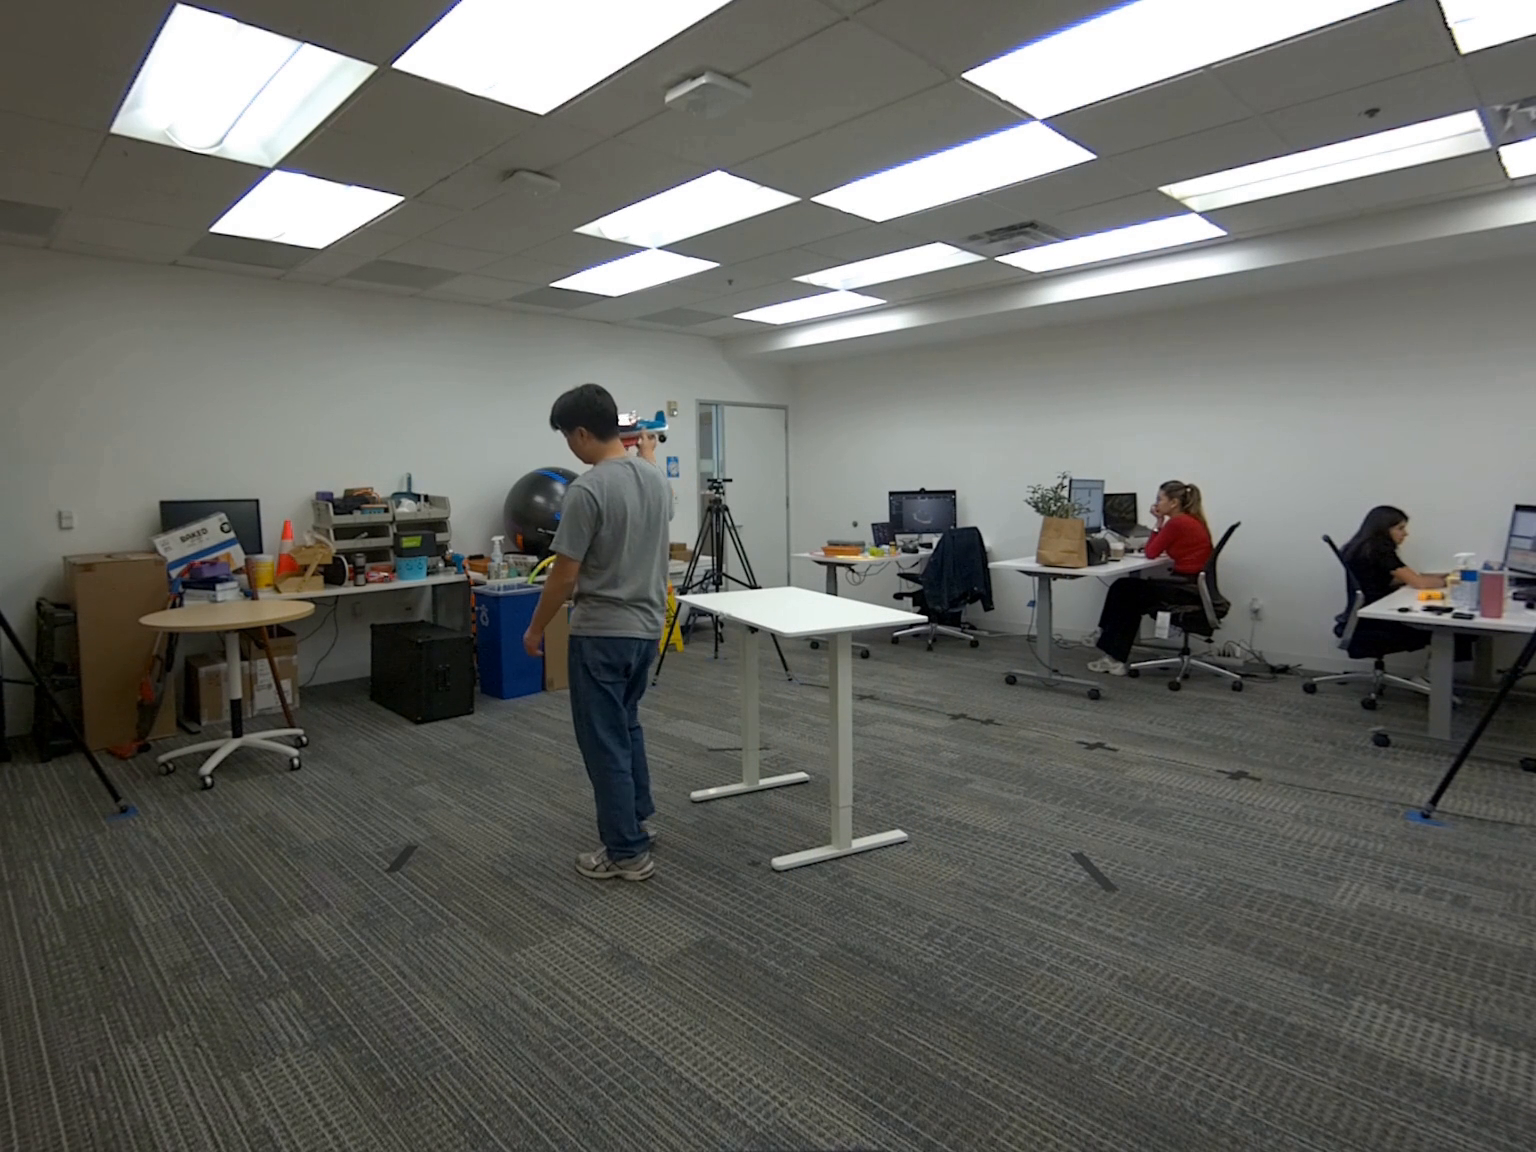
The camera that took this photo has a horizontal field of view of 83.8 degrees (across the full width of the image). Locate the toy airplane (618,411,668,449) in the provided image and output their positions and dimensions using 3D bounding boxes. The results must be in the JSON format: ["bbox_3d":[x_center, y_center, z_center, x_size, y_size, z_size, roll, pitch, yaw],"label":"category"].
[{"bbox_3d":[-0.556,-0.604,3.571,0.257,0.153,0.259,-32,24,-26],"label":"toy airplane"}]
